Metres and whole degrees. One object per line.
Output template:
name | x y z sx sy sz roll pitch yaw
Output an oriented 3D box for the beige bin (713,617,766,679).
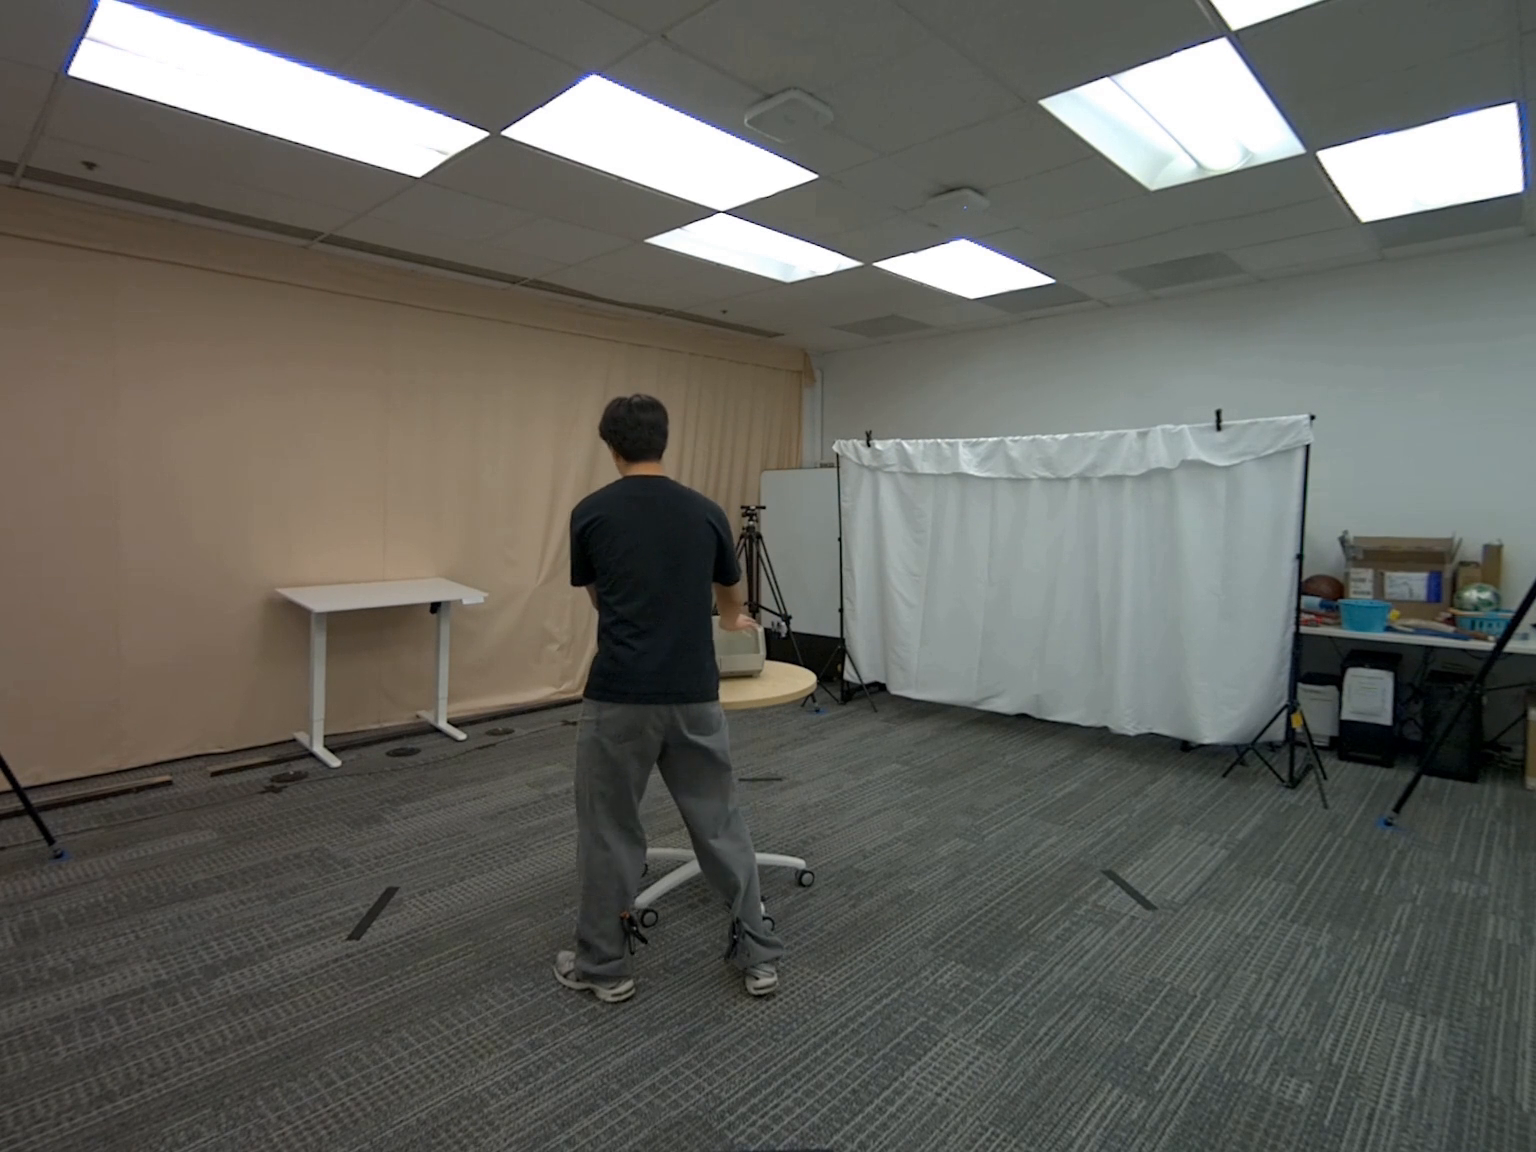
beige bin | -0.257 0.267 3.076 0.416 0.188 0.384 -3 5 -15
